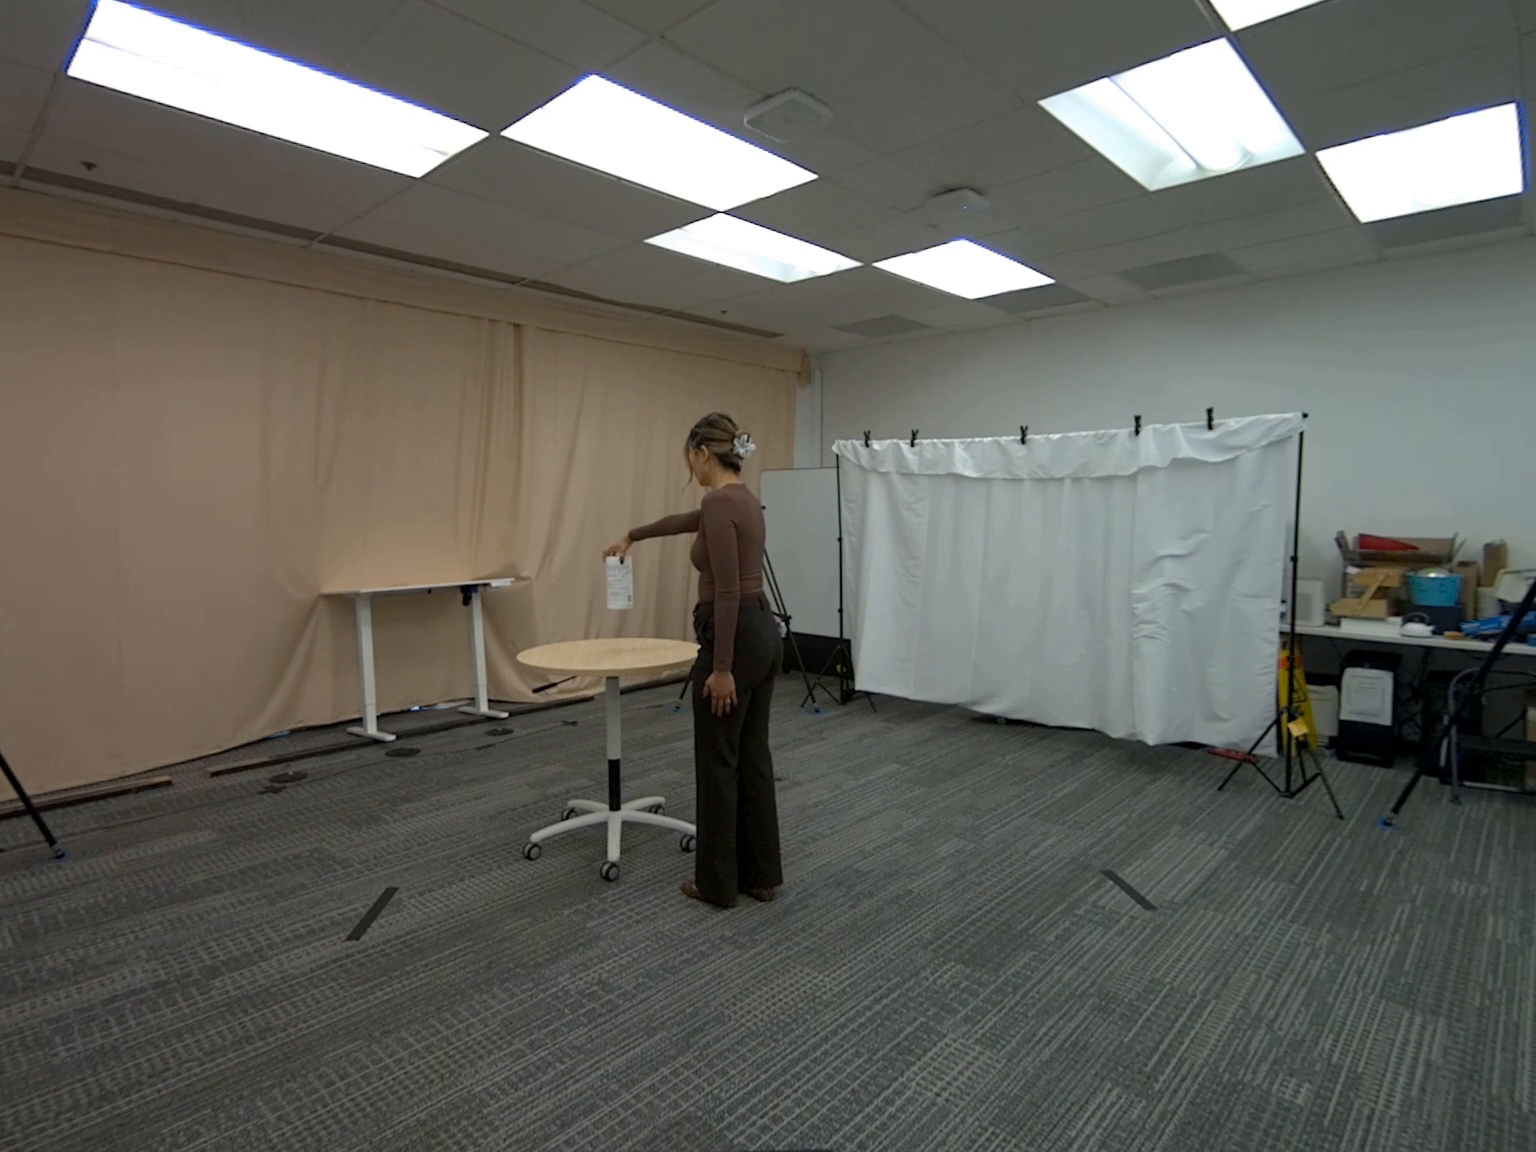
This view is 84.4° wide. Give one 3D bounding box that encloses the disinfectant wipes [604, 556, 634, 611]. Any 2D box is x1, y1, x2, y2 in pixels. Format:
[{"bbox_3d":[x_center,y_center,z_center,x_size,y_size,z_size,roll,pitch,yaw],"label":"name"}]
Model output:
[{"bbox_3d":[-0.611,0.027,3.472,0.118,0.217,0.118,-1,3,-2],"label":"disinfectant wipes"}]
